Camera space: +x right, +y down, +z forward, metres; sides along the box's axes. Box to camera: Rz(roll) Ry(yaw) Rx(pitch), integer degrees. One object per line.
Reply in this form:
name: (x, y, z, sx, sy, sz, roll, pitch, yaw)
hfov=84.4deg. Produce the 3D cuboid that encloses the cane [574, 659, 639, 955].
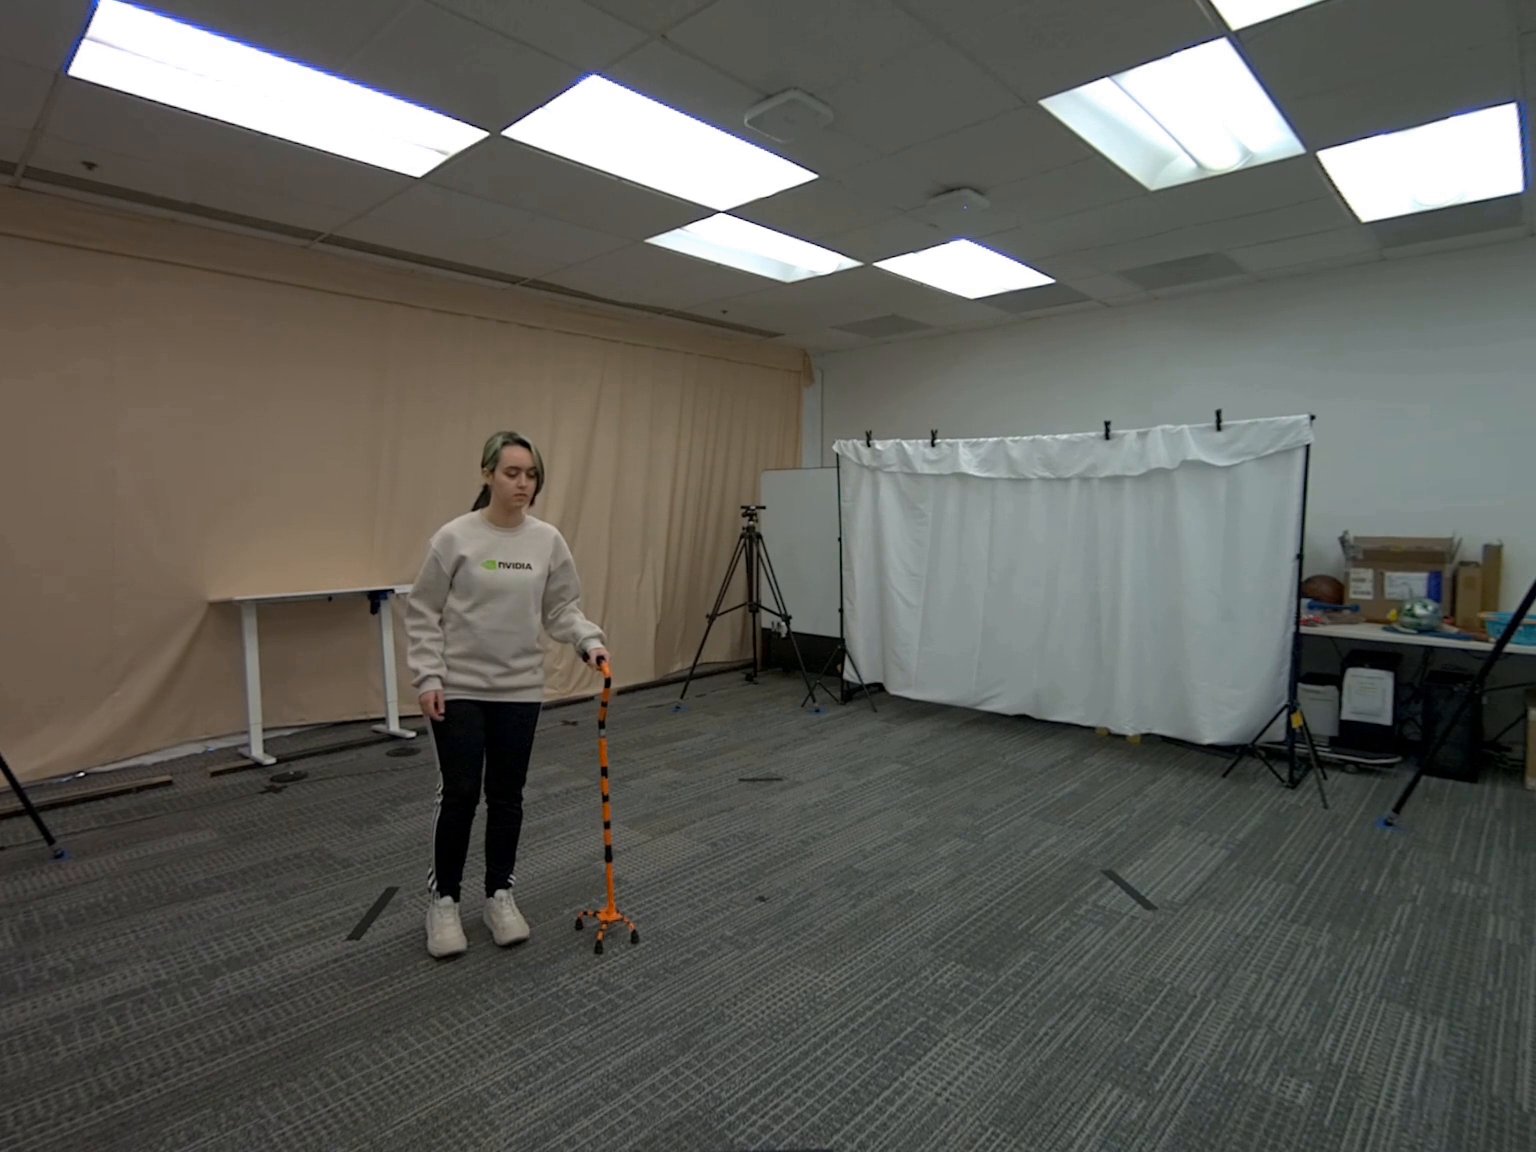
cane: (-0.543, 0.718, 2.707, 0.147, 0.906, 0.212, -5, 3, -33)
